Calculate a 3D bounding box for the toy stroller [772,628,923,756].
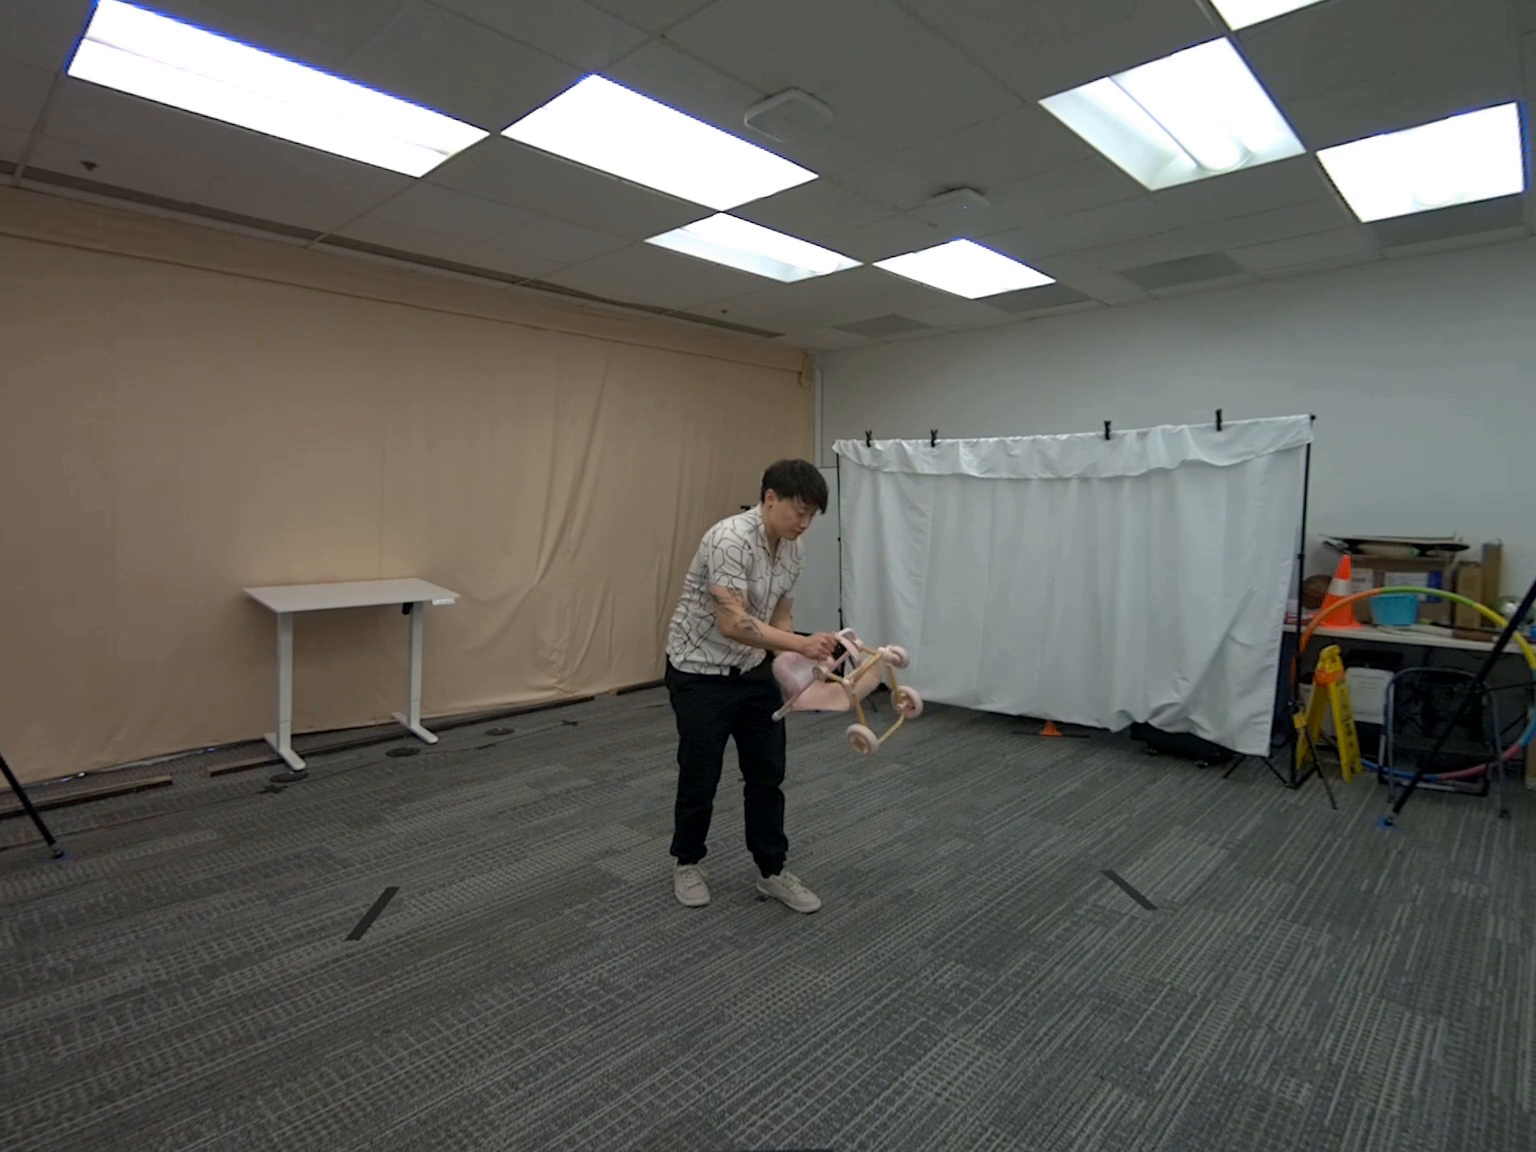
[{"bbox_3d":[0.236,0.336,2.650,0.553,0.335,0.277,8,31,44],"label":"toy stroller"}]
